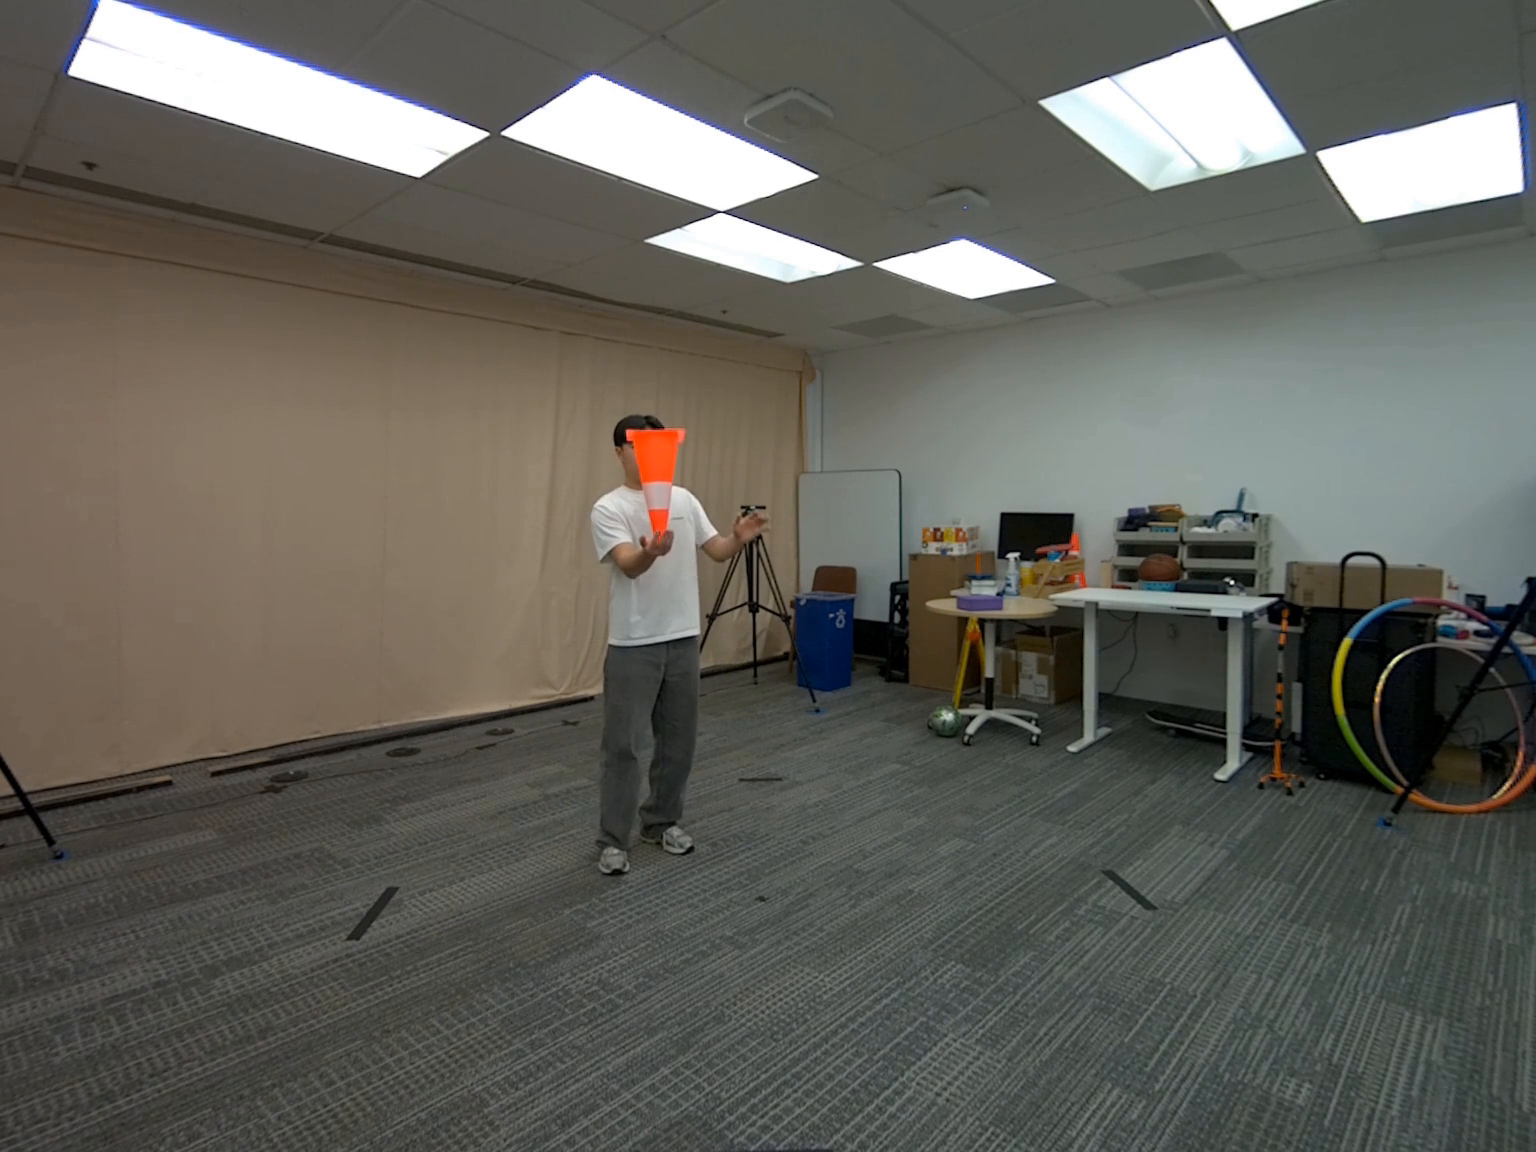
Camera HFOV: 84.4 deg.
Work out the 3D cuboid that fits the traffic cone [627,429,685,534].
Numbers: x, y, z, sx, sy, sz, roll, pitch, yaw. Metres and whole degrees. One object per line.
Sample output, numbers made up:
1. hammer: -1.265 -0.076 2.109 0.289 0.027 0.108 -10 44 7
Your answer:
1. traffic cone: -0.375 -0.283 2.861 0.205 0.384 0.203 -2 -2 8
